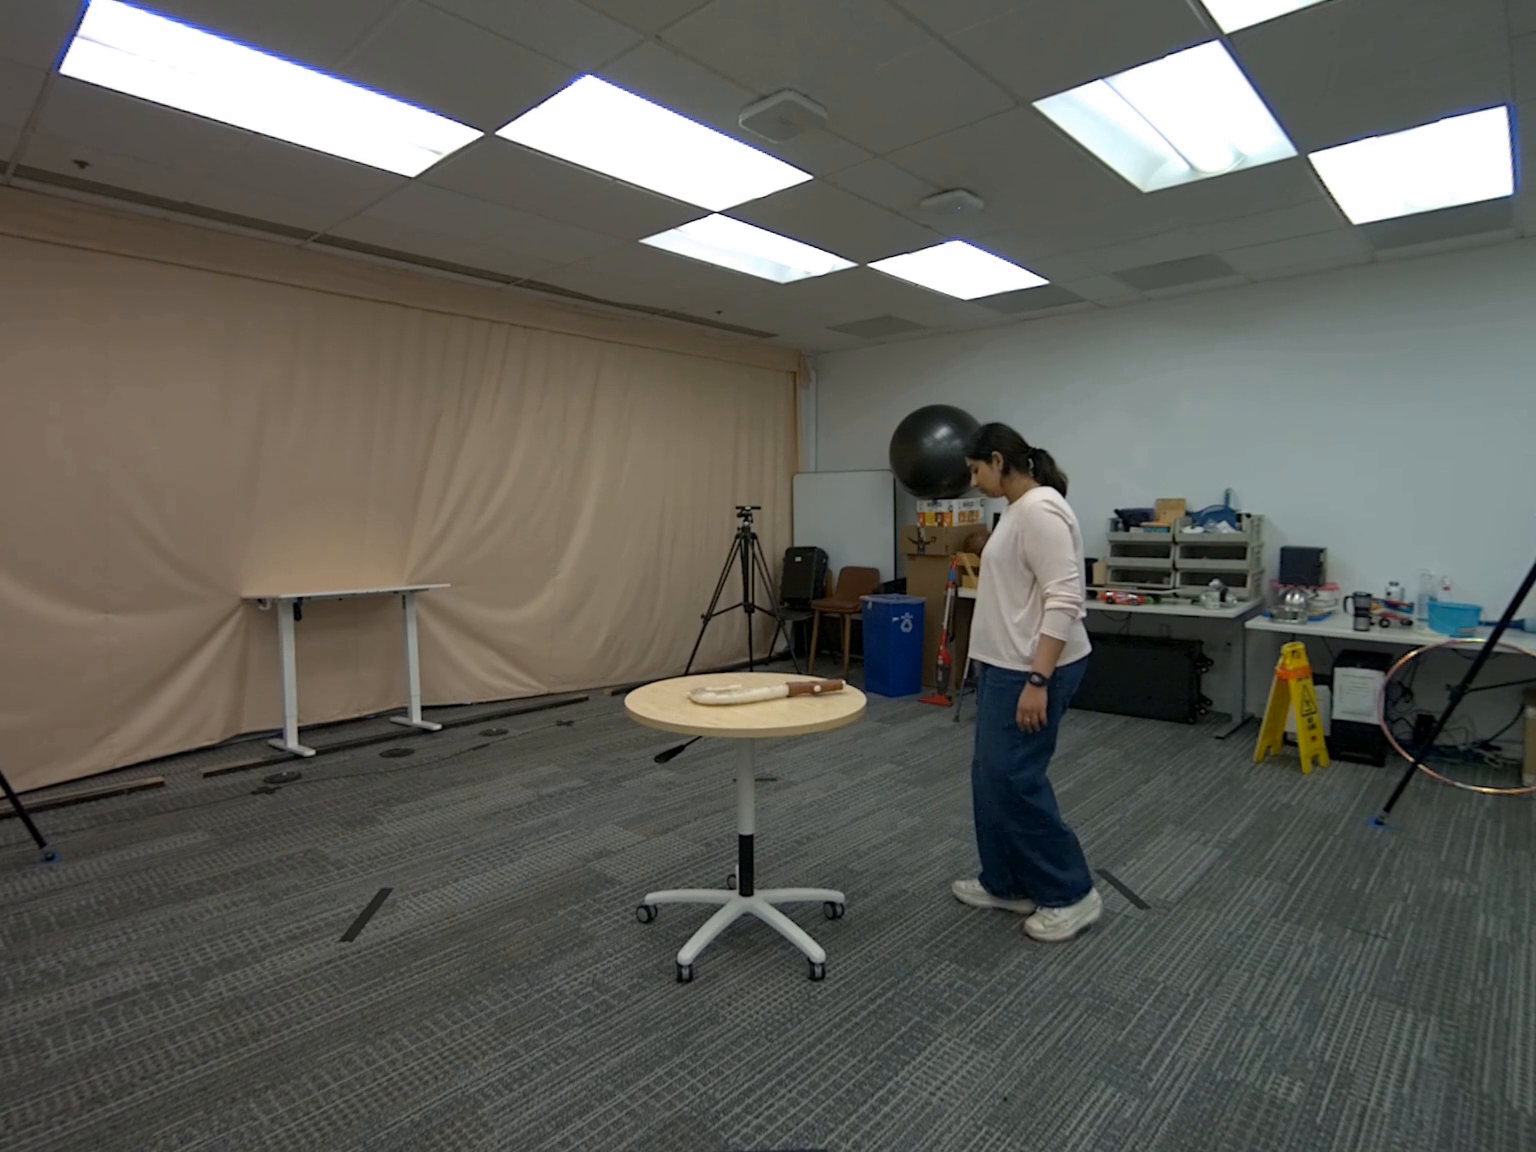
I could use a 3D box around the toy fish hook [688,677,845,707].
[{"bbox_3d":[0.001,0.366,2.695,0.500,0.048,0.228,-2,6,-13],"label":"toy fish hook"}]
